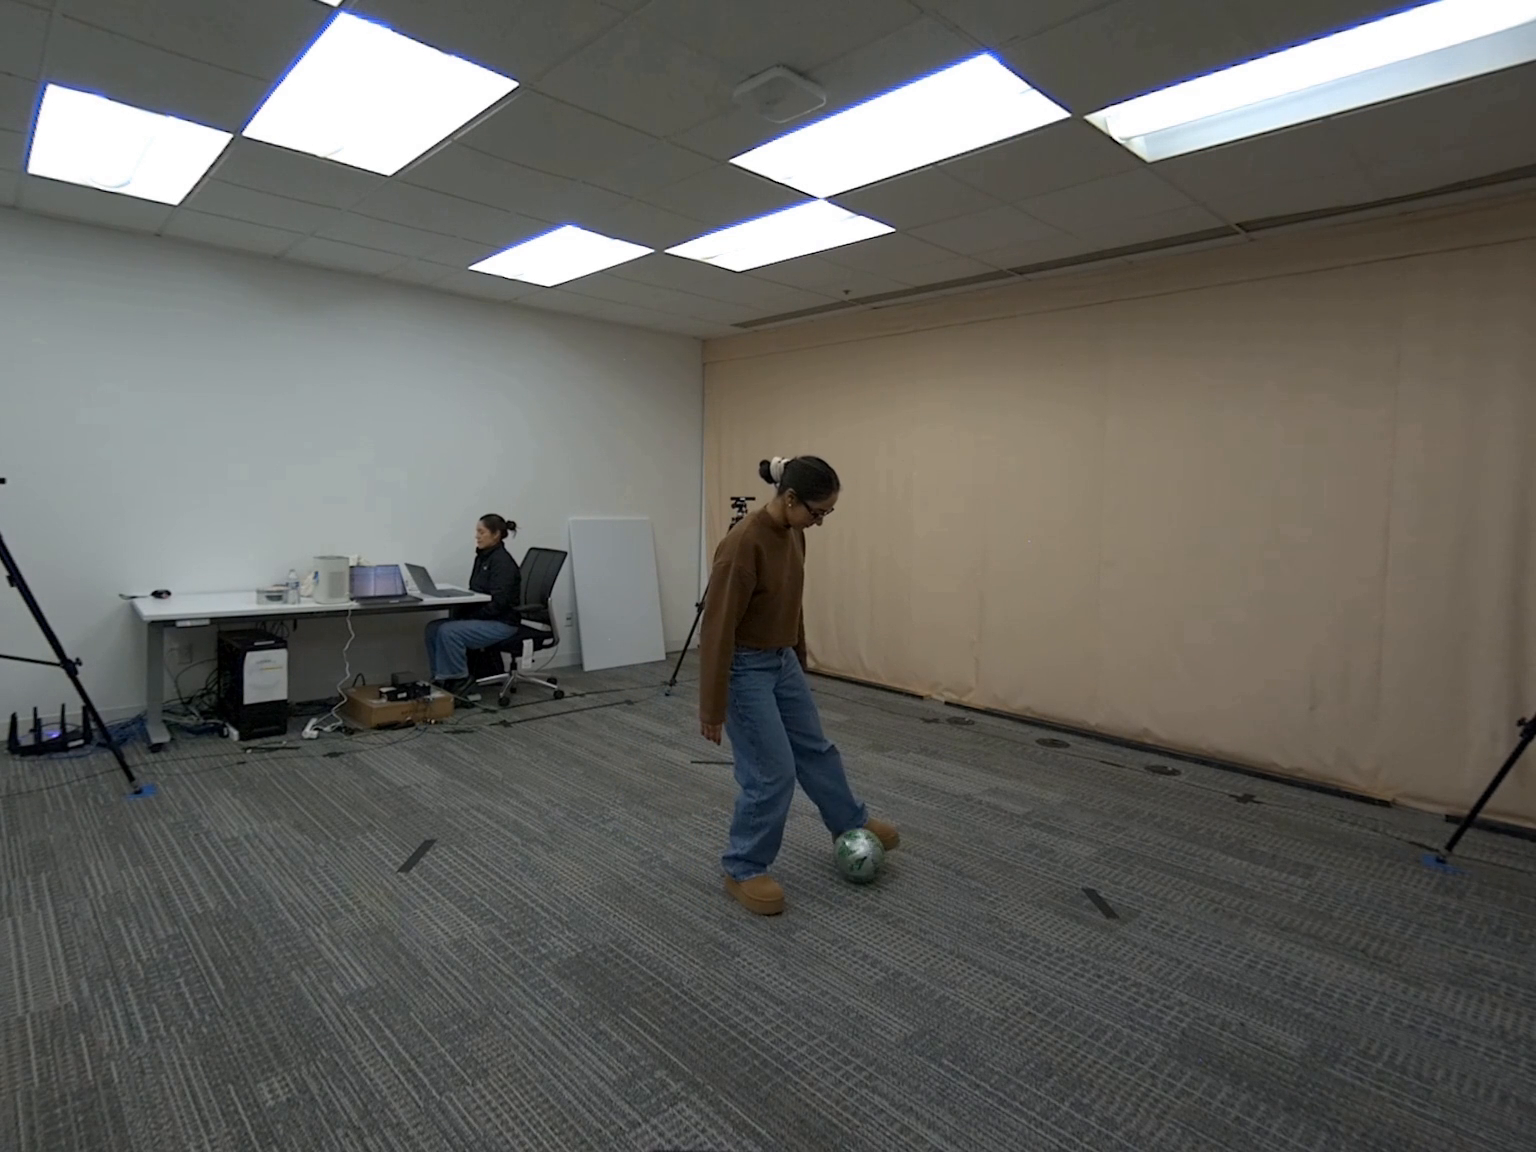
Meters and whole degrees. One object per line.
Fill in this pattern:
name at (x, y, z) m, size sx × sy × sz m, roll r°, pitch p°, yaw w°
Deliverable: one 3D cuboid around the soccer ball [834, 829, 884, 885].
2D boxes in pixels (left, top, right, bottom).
soccer ball at (0.313, 1.030, 3.073) m, size 0.187 × 0.187 × 0.188 m, roll 1°, pitch 4°, yaw -1°
